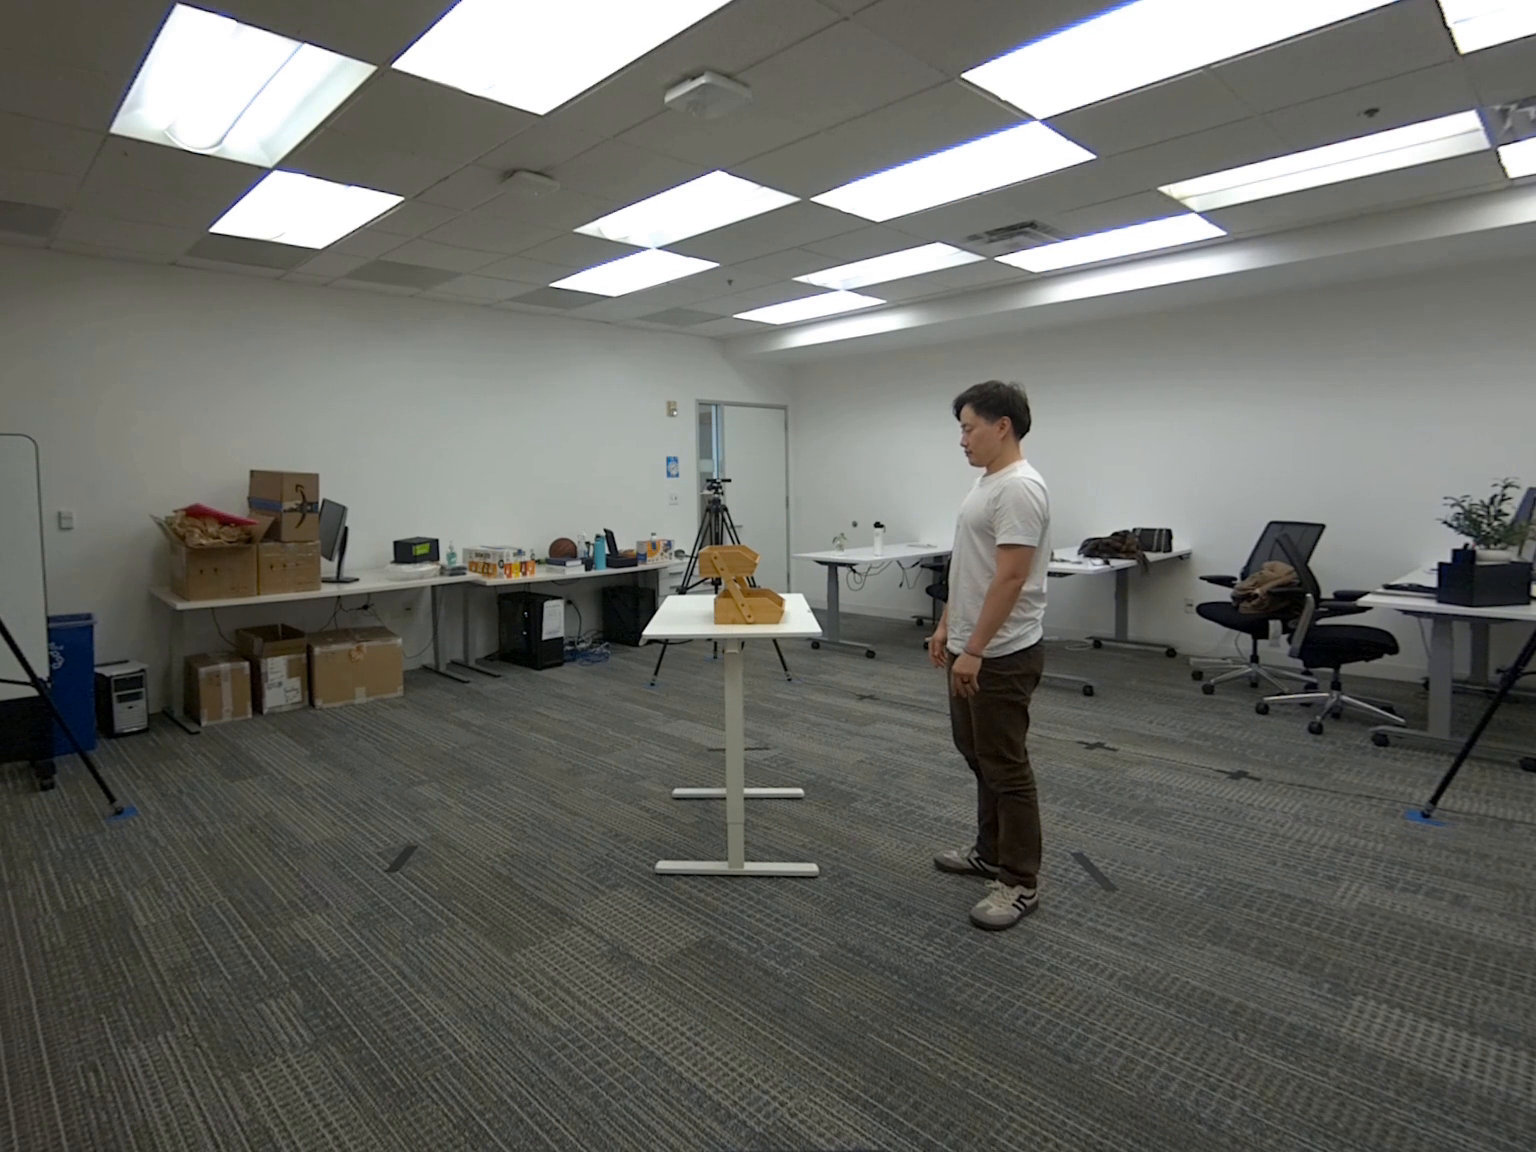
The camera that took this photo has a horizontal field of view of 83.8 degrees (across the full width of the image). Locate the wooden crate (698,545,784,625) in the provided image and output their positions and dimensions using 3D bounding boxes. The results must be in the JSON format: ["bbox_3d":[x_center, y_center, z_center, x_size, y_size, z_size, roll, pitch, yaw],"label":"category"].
[{"bbox_3d":[-0.078,0.023,3.168,0.303,0.272,0.324,-3,4,5],"label":"wooden crate"}]
